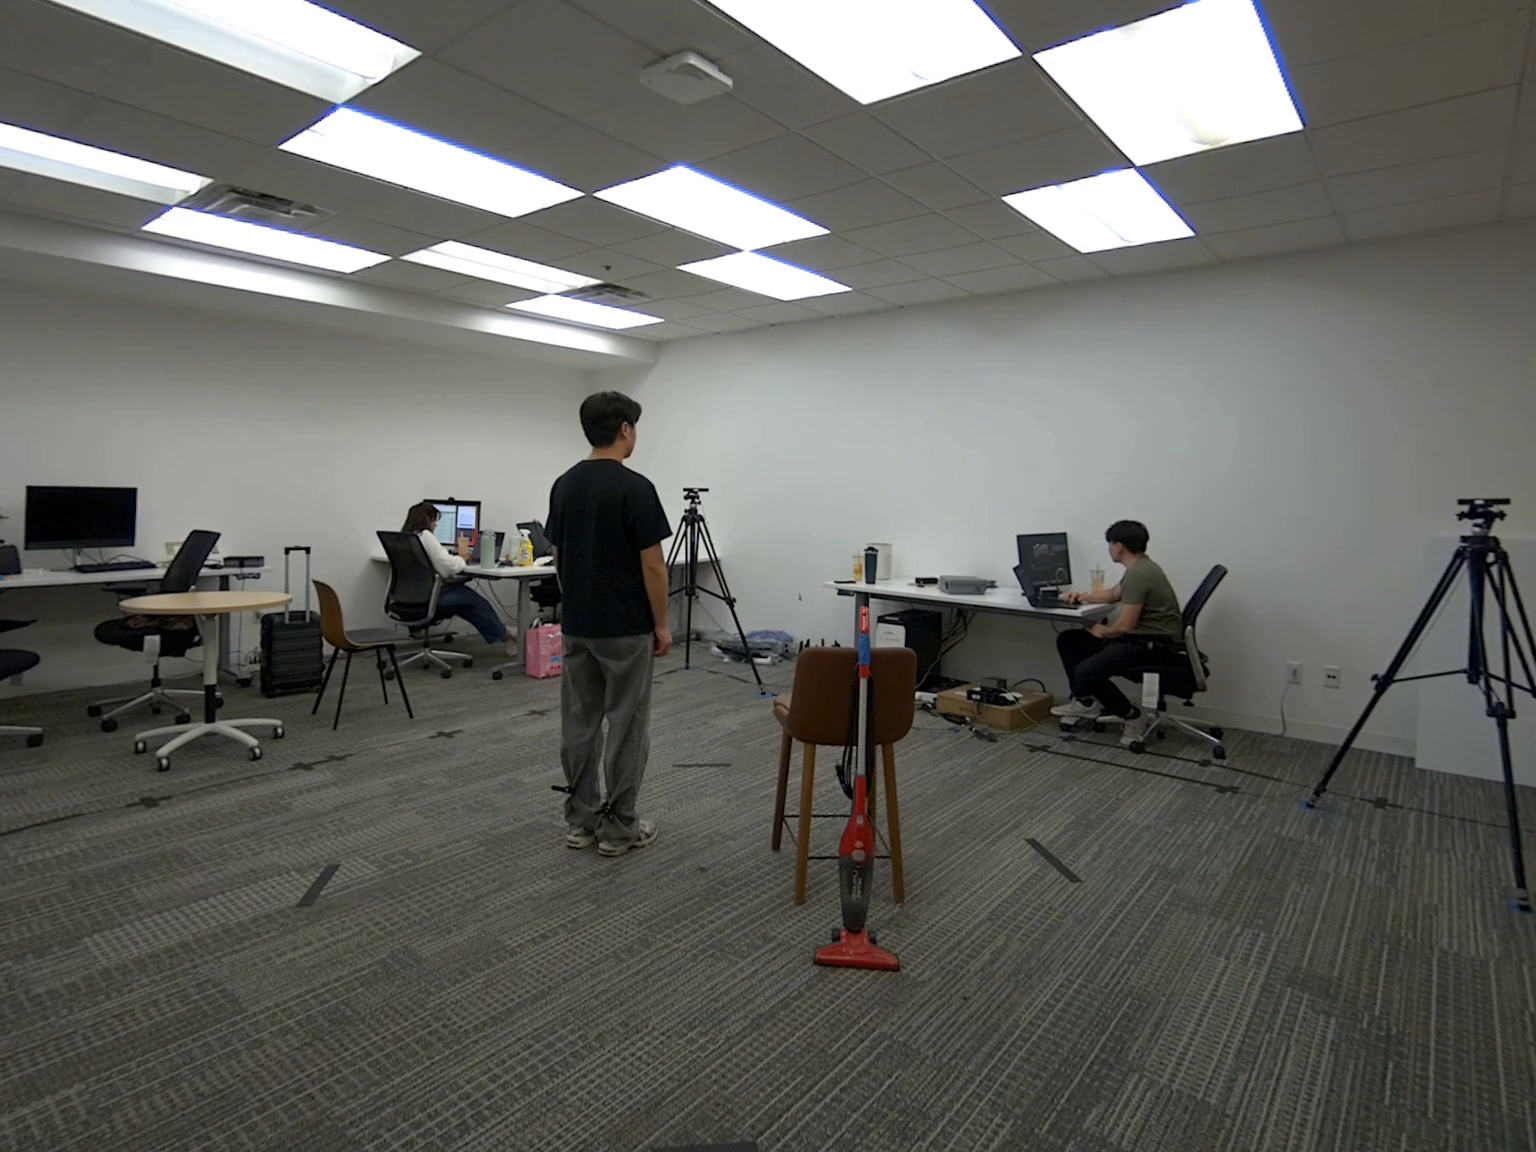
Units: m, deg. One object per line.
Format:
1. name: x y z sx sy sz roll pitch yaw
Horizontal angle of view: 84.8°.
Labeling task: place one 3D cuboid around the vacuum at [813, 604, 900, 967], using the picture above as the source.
1. vacuum: 0.285 0.620 2.685 0.252 1.063 0.142 4 -15 -2
